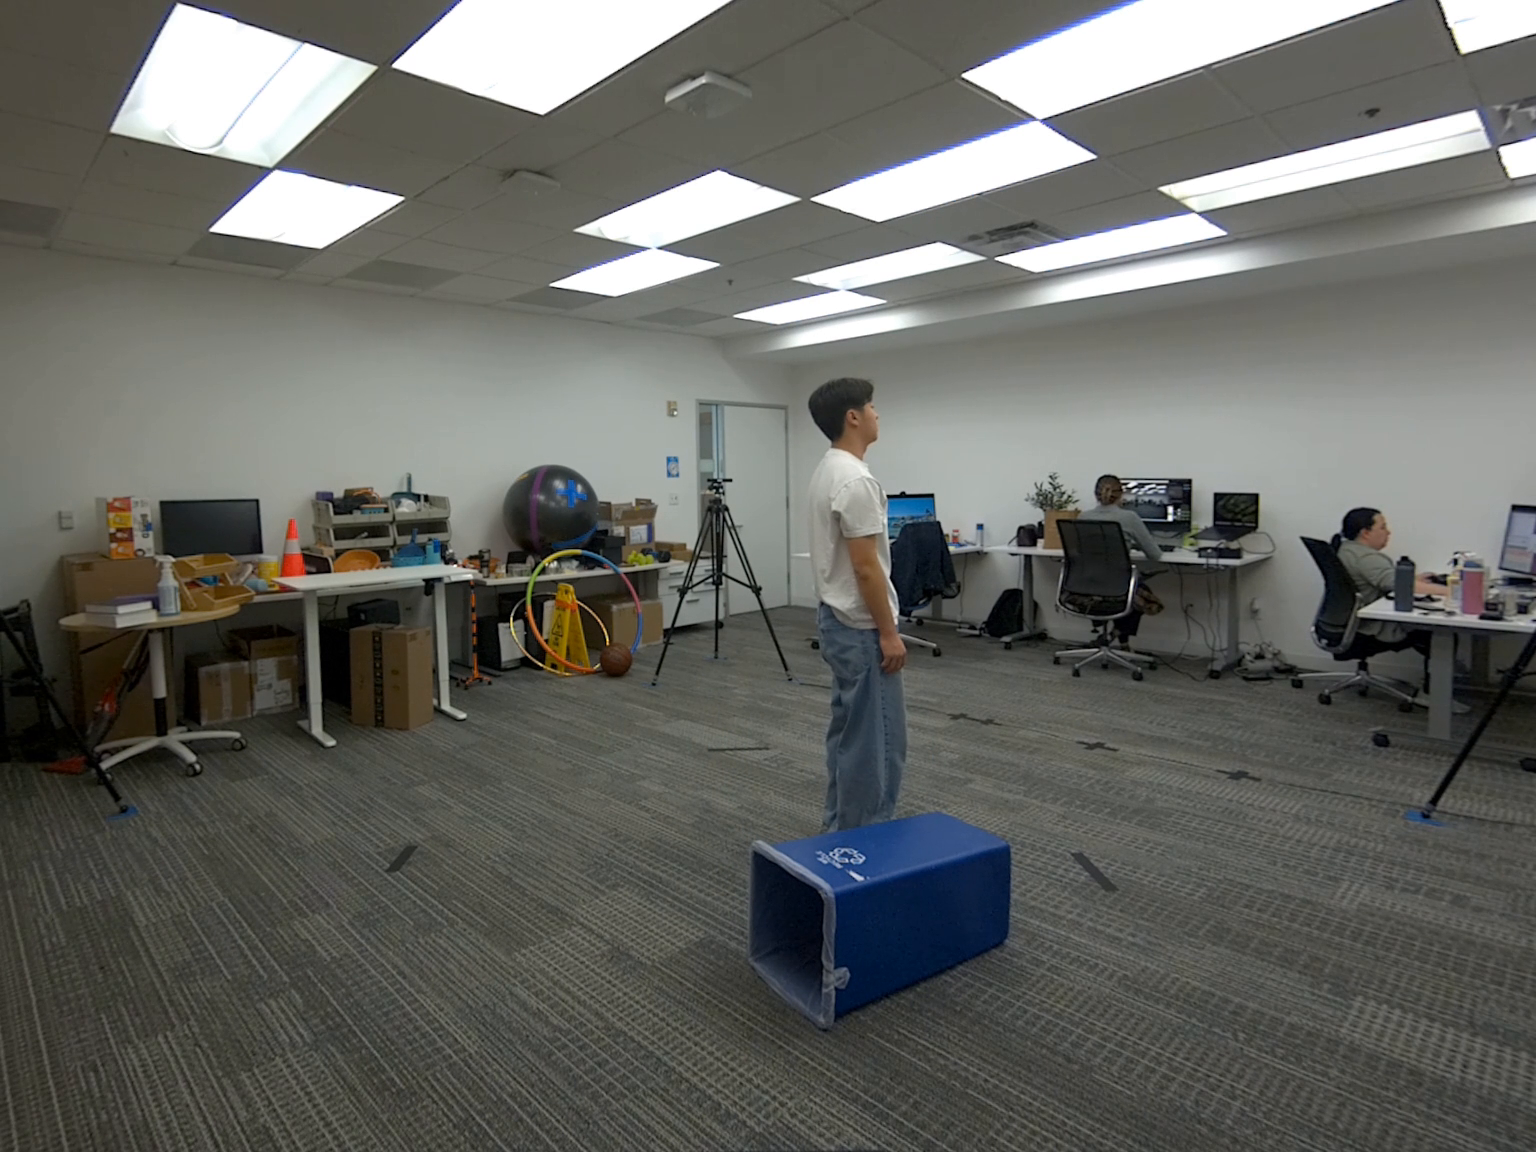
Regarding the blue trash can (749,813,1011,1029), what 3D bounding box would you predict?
[{"bbox_3d":[0.342,0.934,2.484,0.696,0.373,0.389,-3,5,-33],"label":"blue trash can"}]
